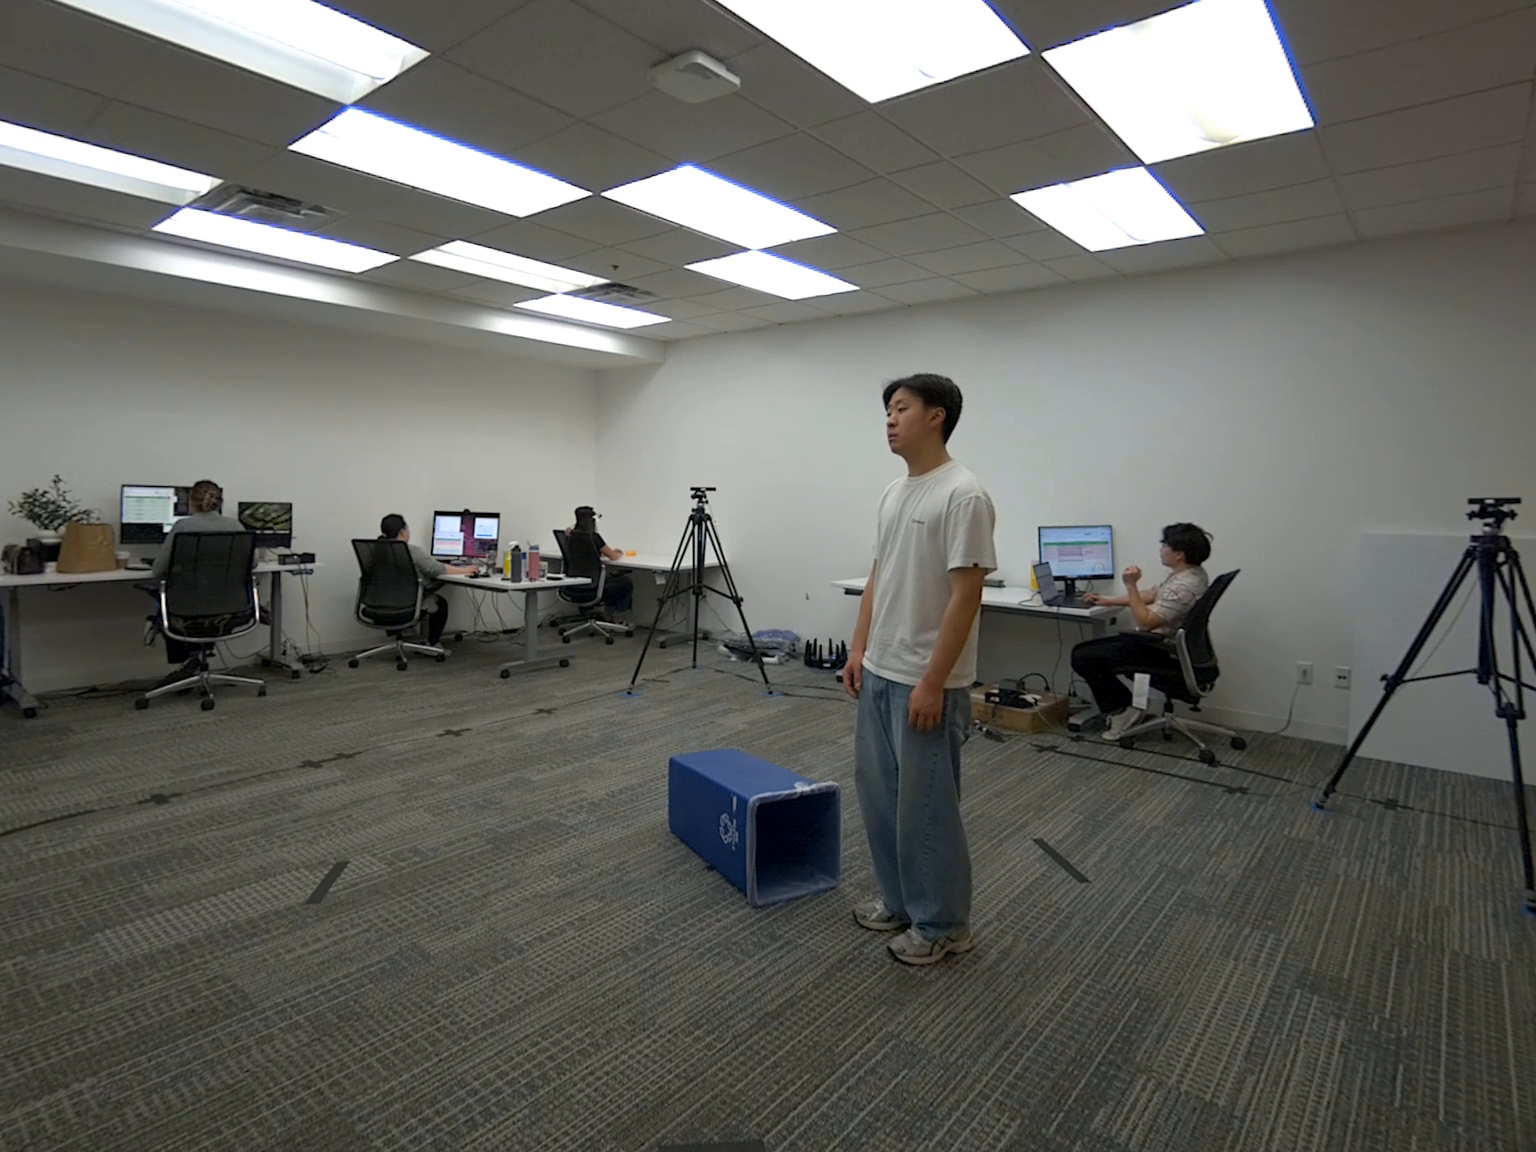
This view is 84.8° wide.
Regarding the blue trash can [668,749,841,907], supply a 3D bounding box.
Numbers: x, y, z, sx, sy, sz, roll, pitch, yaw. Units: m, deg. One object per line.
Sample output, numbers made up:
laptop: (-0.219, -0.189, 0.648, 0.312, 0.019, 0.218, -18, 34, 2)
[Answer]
blue trash can: (-0.103, 0.894, 3.201, 0.364, 0.377, 0.734, -1, 3, -32)
